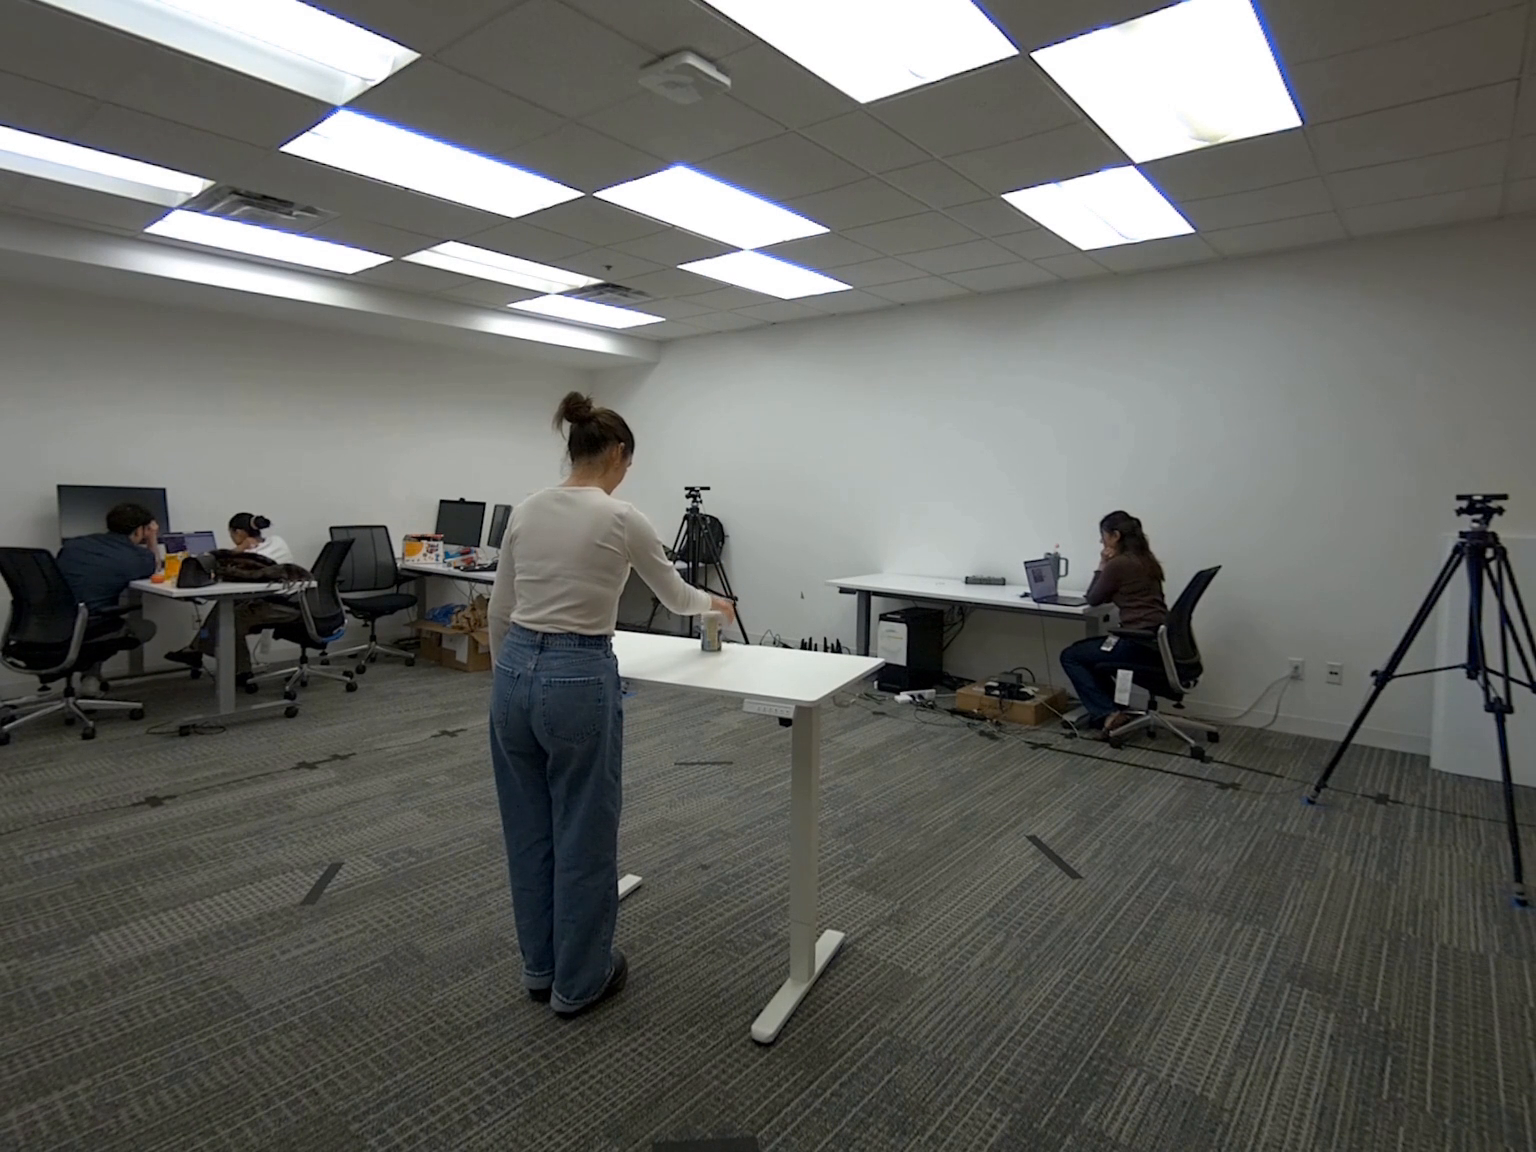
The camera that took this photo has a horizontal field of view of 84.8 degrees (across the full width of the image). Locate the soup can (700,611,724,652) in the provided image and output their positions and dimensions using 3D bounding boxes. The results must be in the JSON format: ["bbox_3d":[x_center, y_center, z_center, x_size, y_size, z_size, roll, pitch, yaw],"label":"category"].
[{"bbox_3d":[-0.179,0.170,2.663,0.067,0.121,0.067,1,5,-2],"label":"soup can"}]
